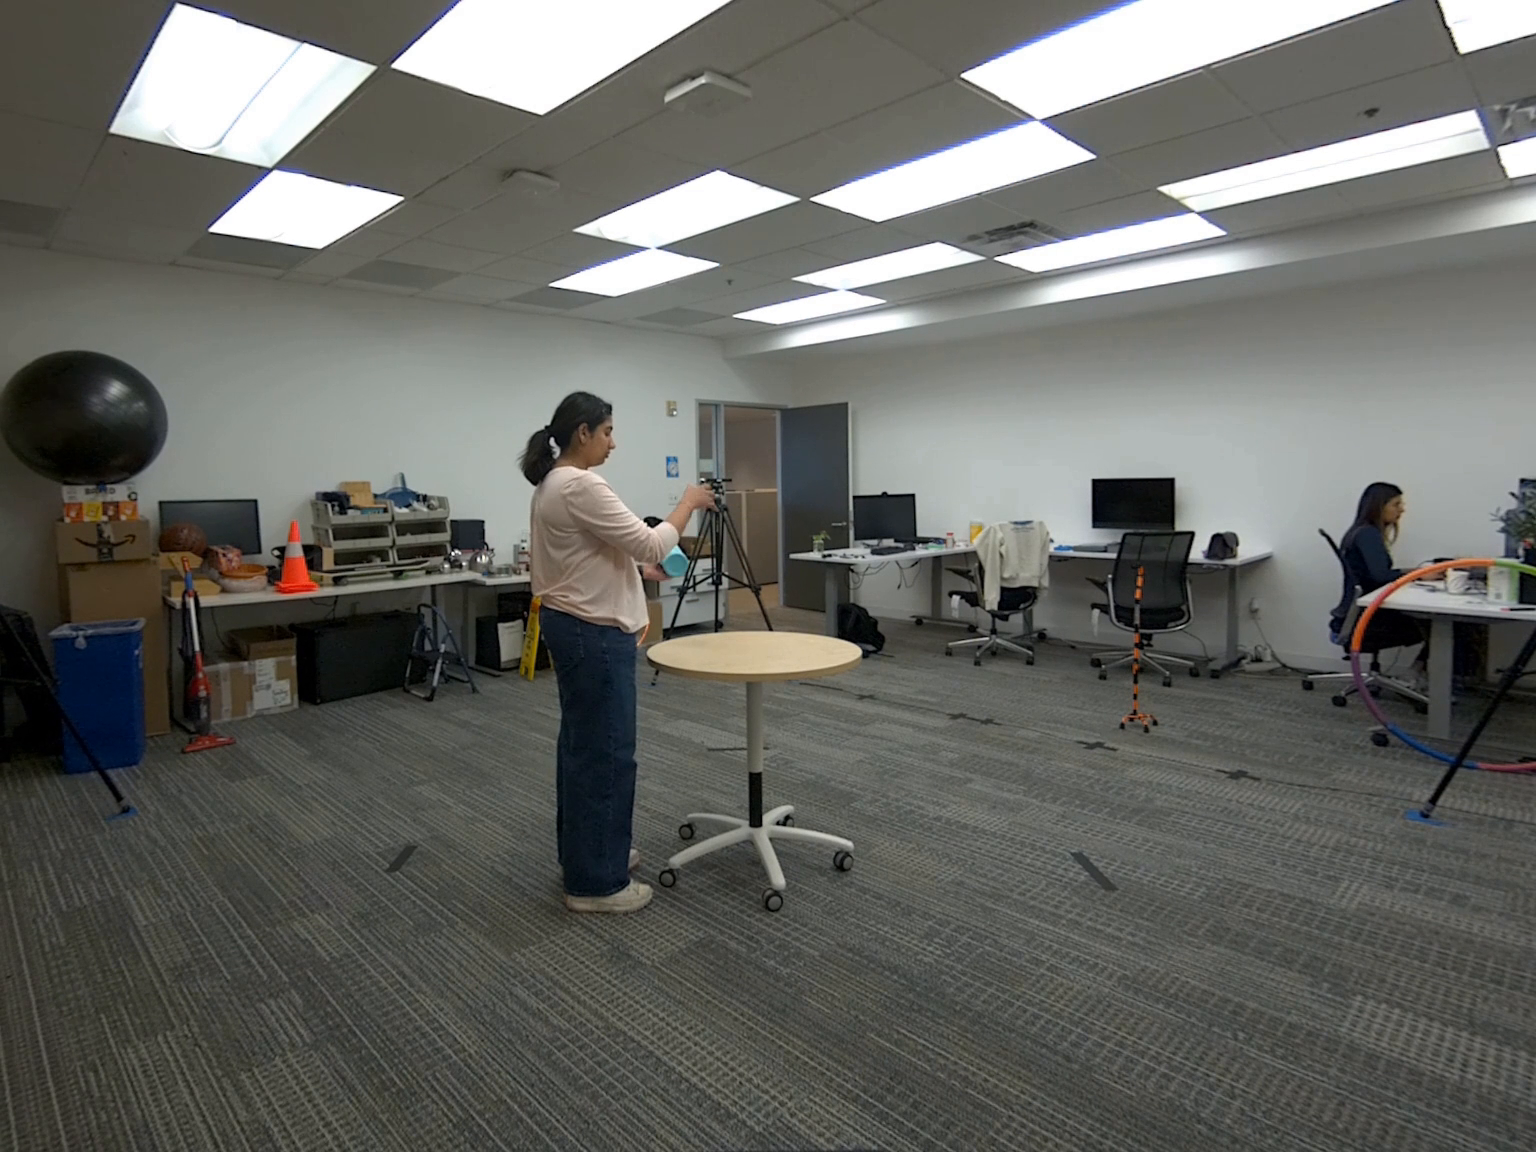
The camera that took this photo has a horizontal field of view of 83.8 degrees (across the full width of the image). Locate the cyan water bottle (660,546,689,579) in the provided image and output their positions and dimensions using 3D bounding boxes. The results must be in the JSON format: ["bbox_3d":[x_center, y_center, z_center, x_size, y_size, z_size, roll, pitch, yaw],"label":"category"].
[{"bbox_3d":[-0.359,-0.083,3.190,0.091,0.091,0.288,-2,13,-9],"label":"cyan water bottle"}]
